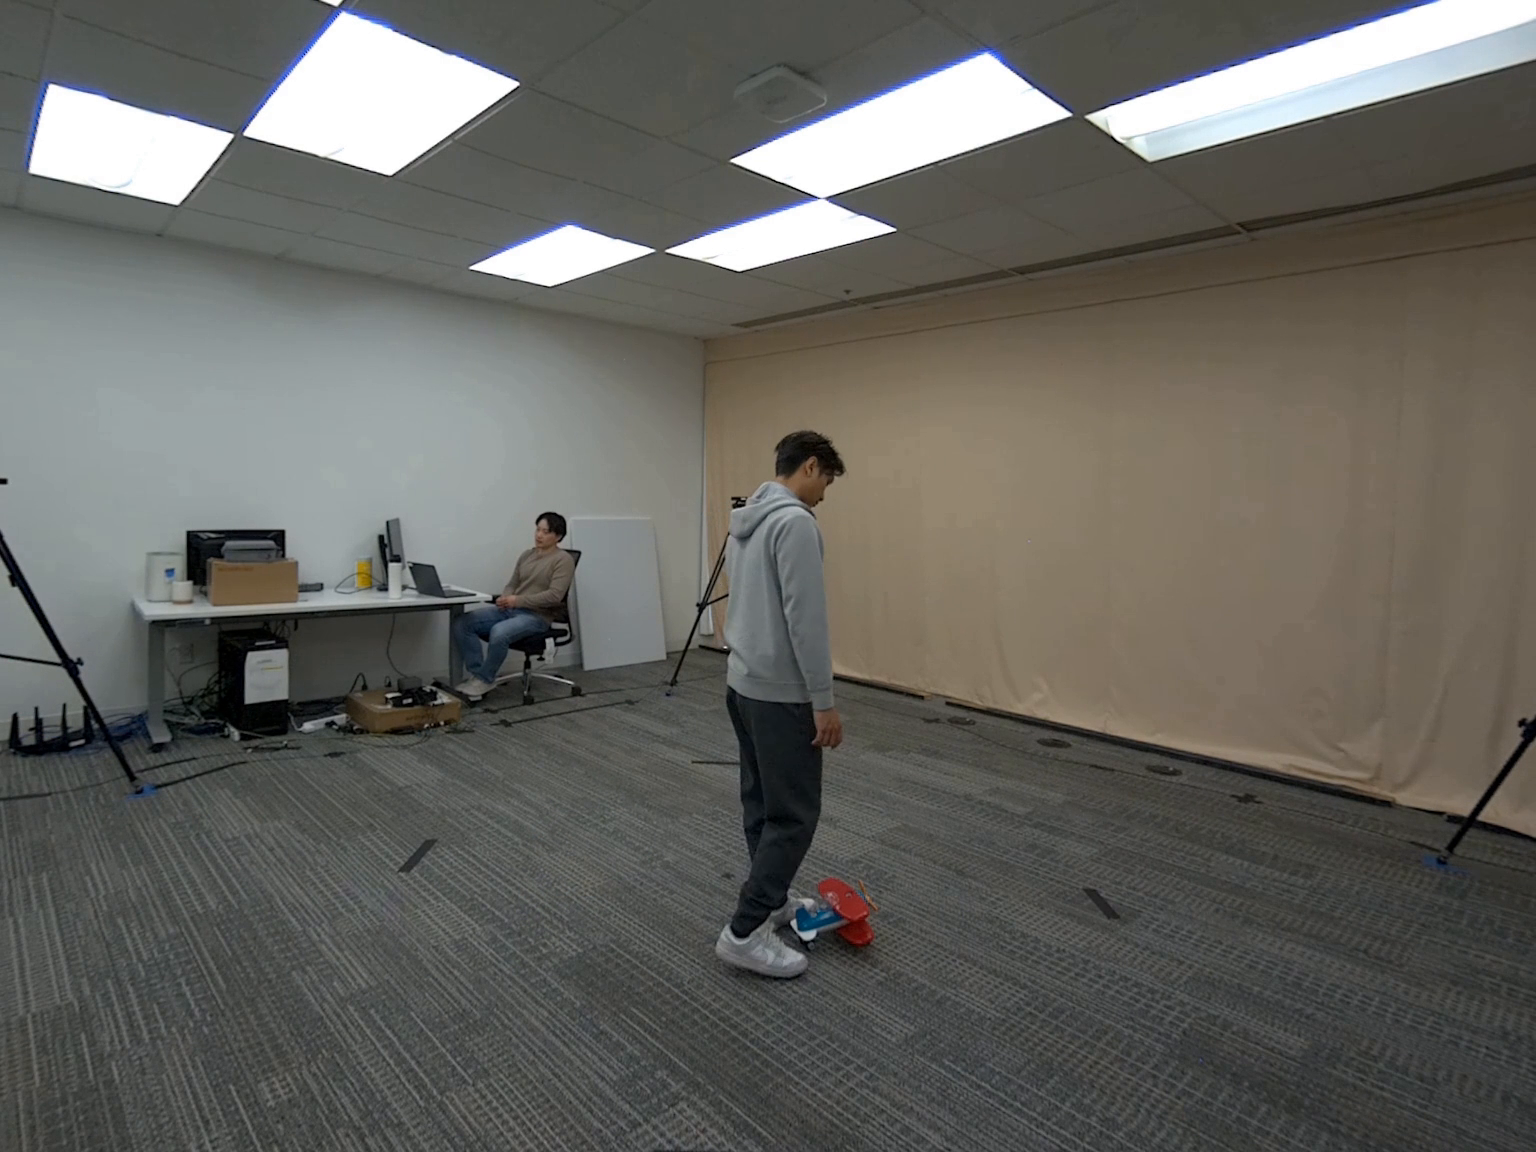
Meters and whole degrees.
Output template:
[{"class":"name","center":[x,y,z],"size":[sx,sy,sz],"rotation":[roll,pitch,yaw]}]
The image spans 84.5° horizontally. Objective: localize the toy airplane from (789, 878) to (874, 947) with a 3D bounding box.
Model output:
[{"class":"toy airplane","center":[0.208,1.083,2.637],"size":[0.257,0.156,0.253],"rotation":[7,7,41]}]
